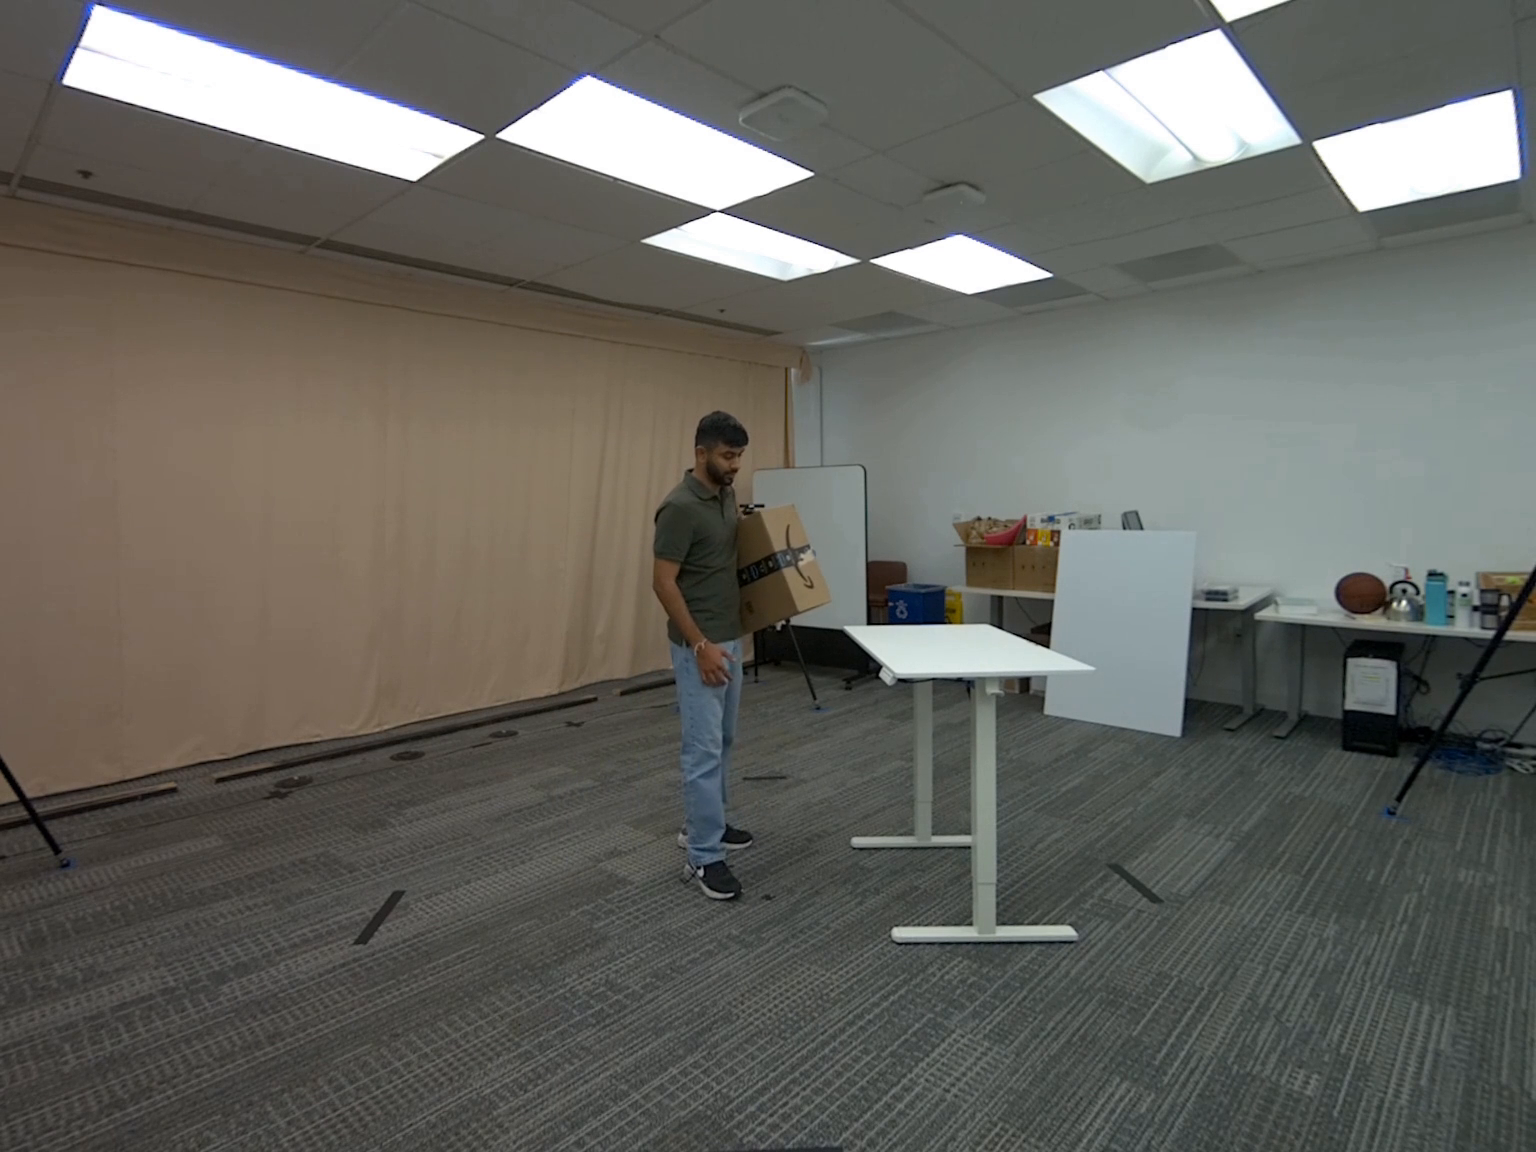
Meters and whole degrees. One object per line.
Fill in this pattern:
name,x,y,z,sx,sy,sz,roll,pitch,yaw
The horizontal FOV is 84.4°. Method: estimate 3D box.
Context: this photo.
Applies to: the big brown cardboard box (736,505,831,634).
big brown cardboard box,-0.082,0.014,3.429,0.227,0.420,0.601,-13,-8,-46
